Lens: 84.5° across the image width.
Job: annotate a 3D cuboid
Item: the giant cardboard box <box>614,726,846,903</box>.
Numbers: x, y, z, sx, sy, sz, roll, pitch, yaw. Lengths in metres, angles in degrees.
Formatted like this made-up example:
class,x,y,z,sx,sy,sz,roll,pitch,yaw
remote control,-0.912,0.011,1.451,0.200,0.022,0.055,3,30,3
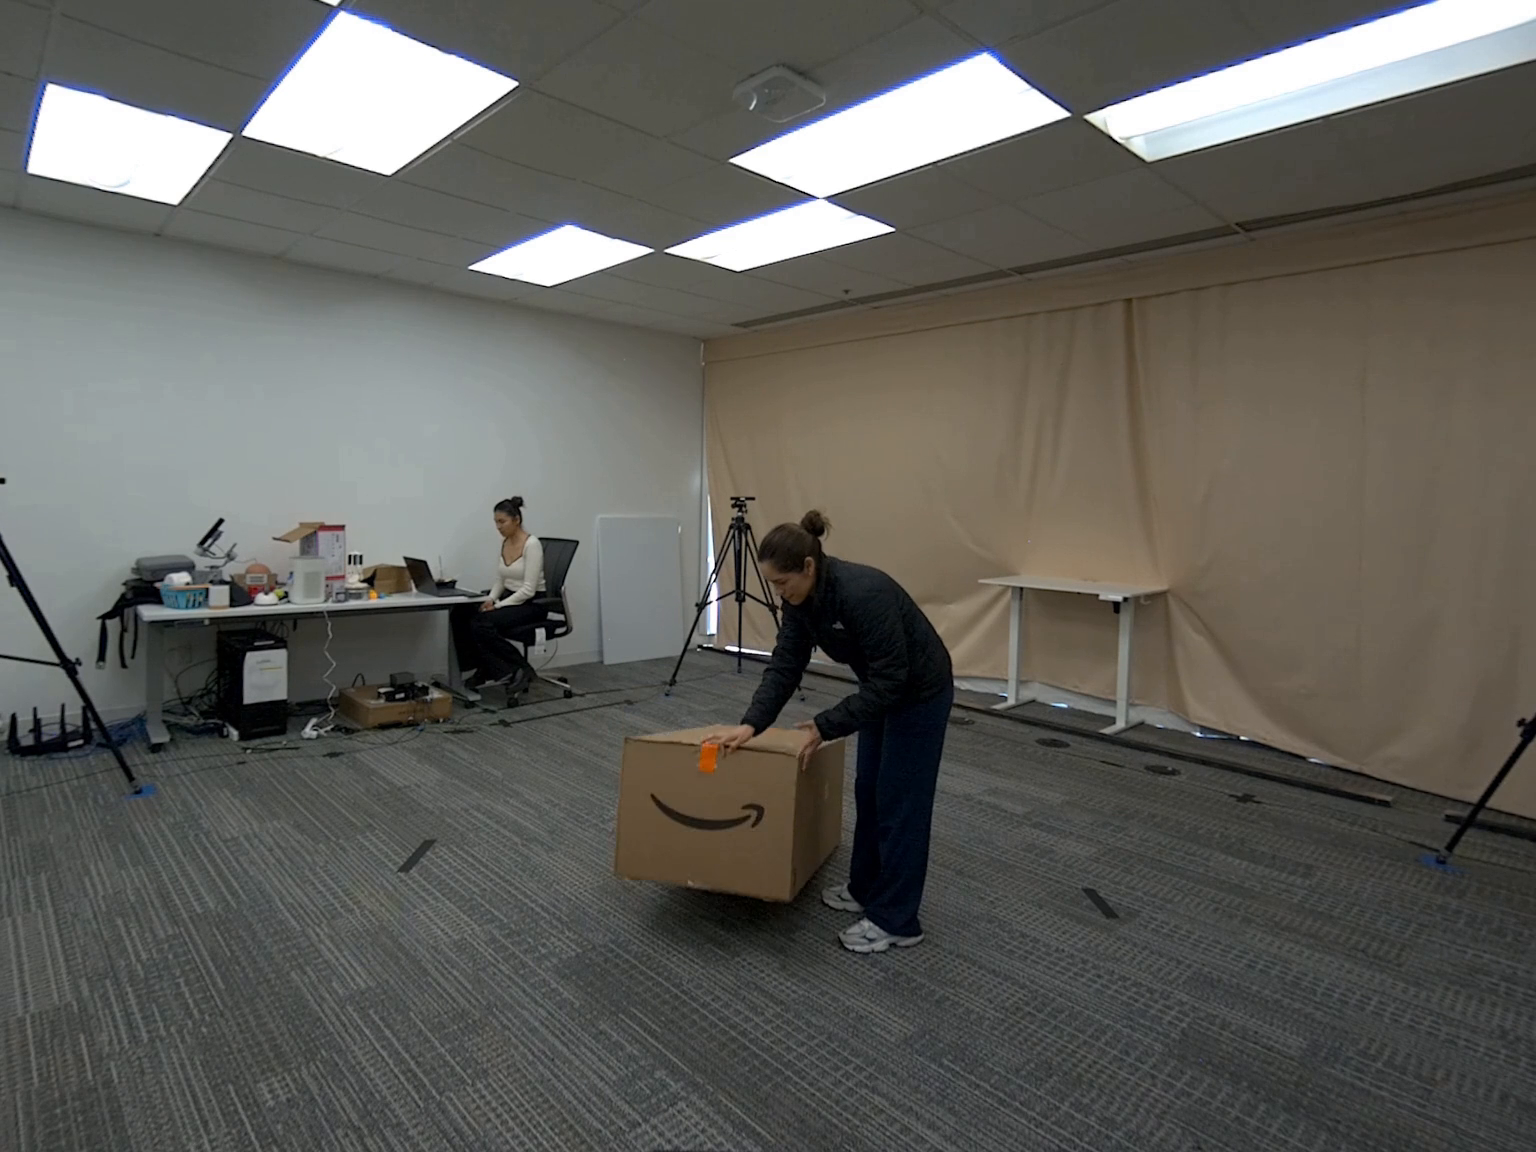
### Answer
class,x,y,z,sx,sy,sz,roll,pitch,yaw
giant cardboard box,-0.083,0.795,3.048,0.584,0.428,1.008,3,-7,14
